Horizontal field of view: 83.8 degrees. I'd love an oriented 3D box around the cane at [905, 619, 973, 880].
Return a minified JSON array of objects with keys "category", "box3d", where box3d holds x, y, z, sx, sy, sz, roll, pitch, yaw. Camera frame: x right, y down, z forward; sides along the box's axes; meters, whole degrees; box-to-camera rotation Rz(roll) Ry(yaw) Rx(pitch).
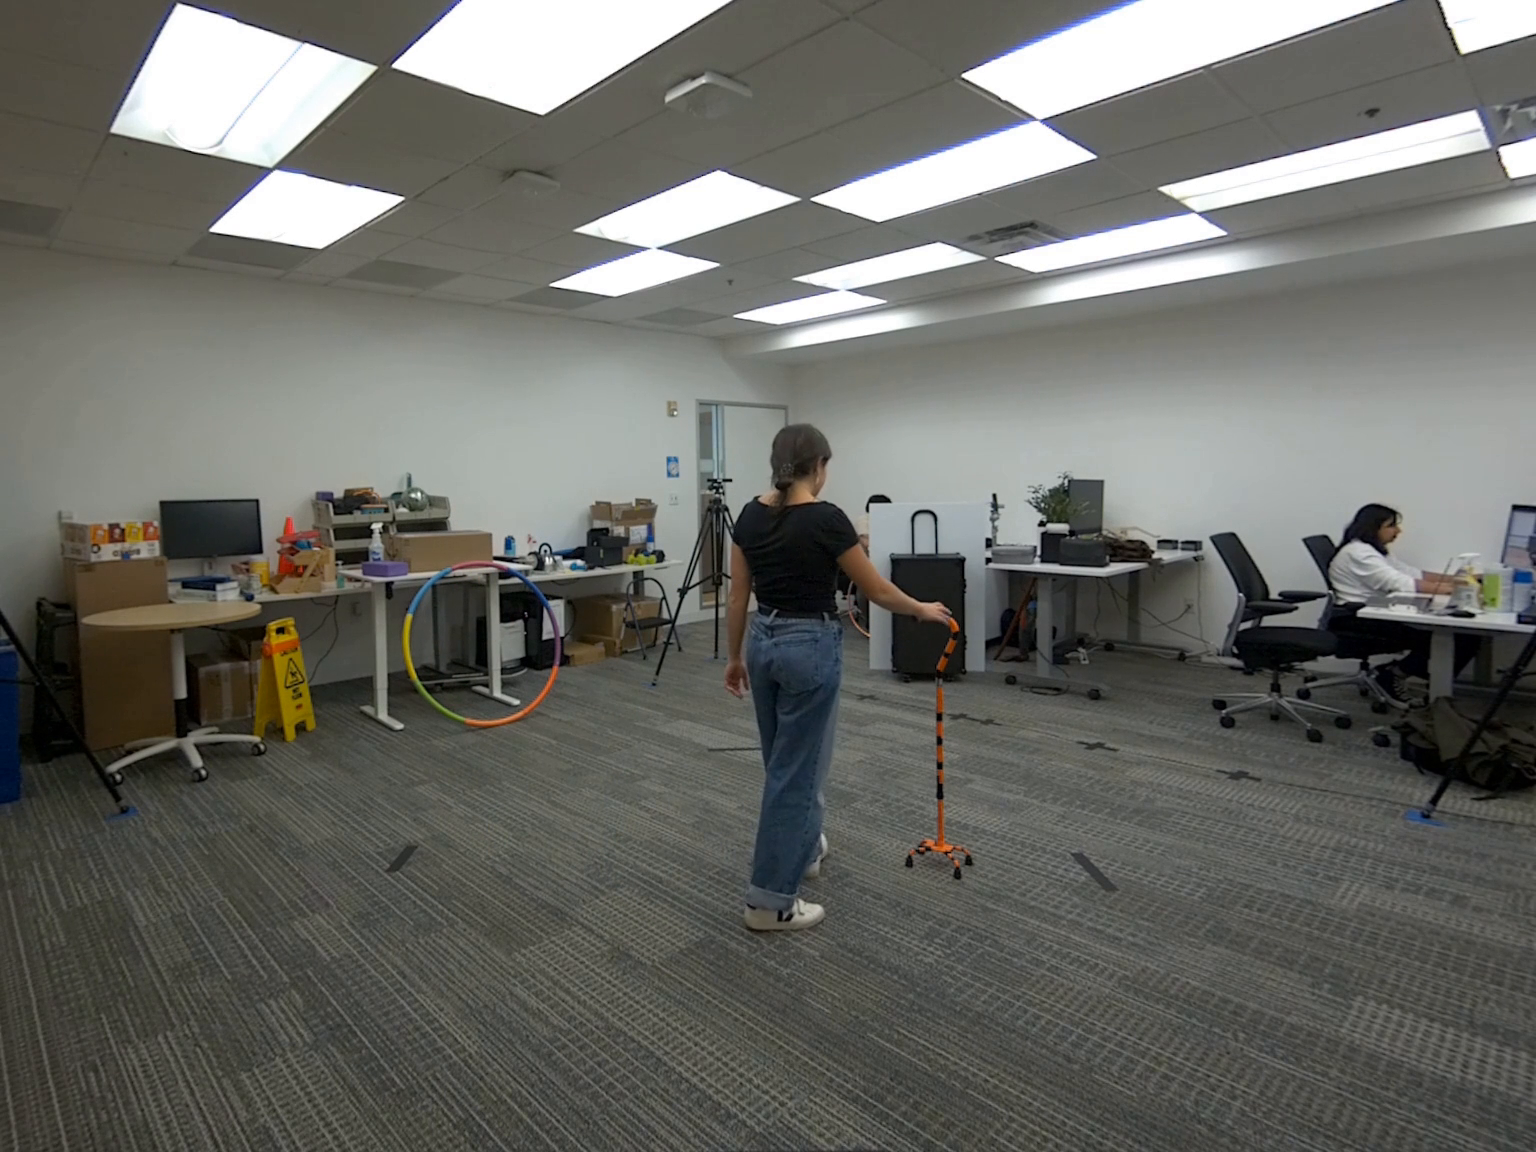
[{"category":"cane","box3d":[0.616,0.587,3.050,0.212,0.905,0.148,2,4,30]}]
